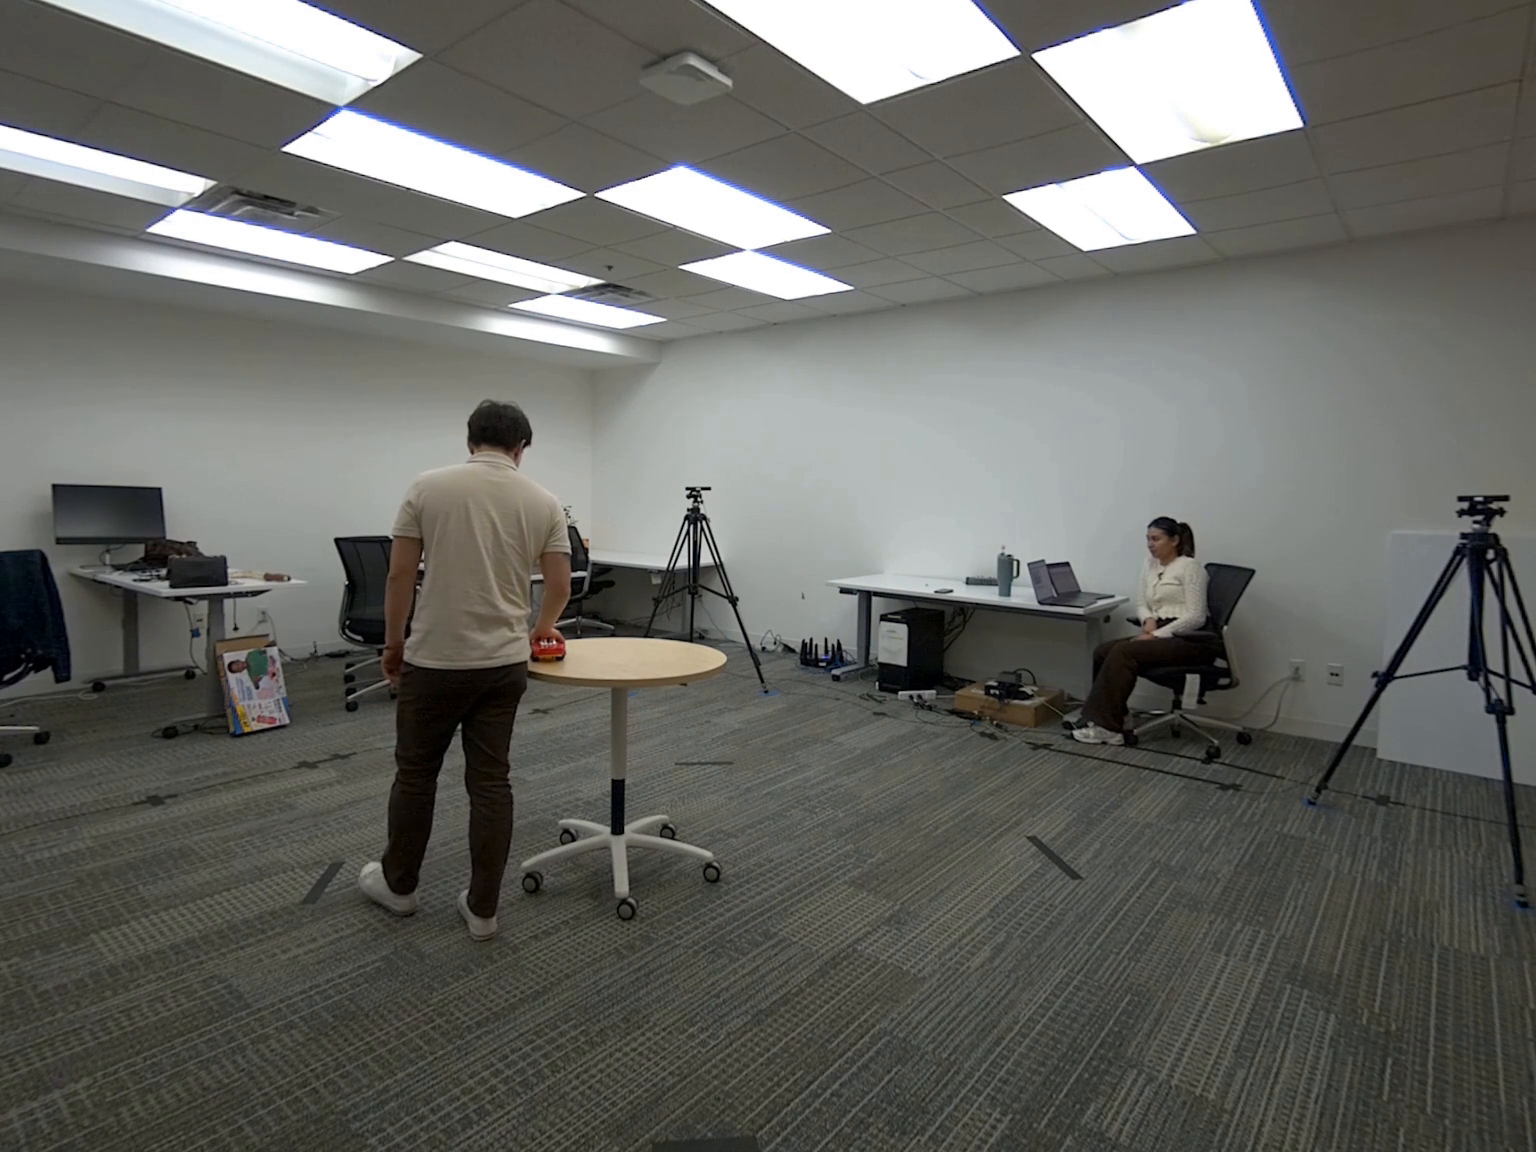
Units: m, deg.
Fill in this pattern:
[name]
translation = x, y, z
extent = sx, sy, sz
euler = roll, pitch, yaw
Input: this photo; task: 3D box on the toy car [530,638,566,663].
[toy car]
translation = -0.796, 0.252, 2.971
extent = 0.127, 0.083, 0.259
euler = -1, -3, -23
